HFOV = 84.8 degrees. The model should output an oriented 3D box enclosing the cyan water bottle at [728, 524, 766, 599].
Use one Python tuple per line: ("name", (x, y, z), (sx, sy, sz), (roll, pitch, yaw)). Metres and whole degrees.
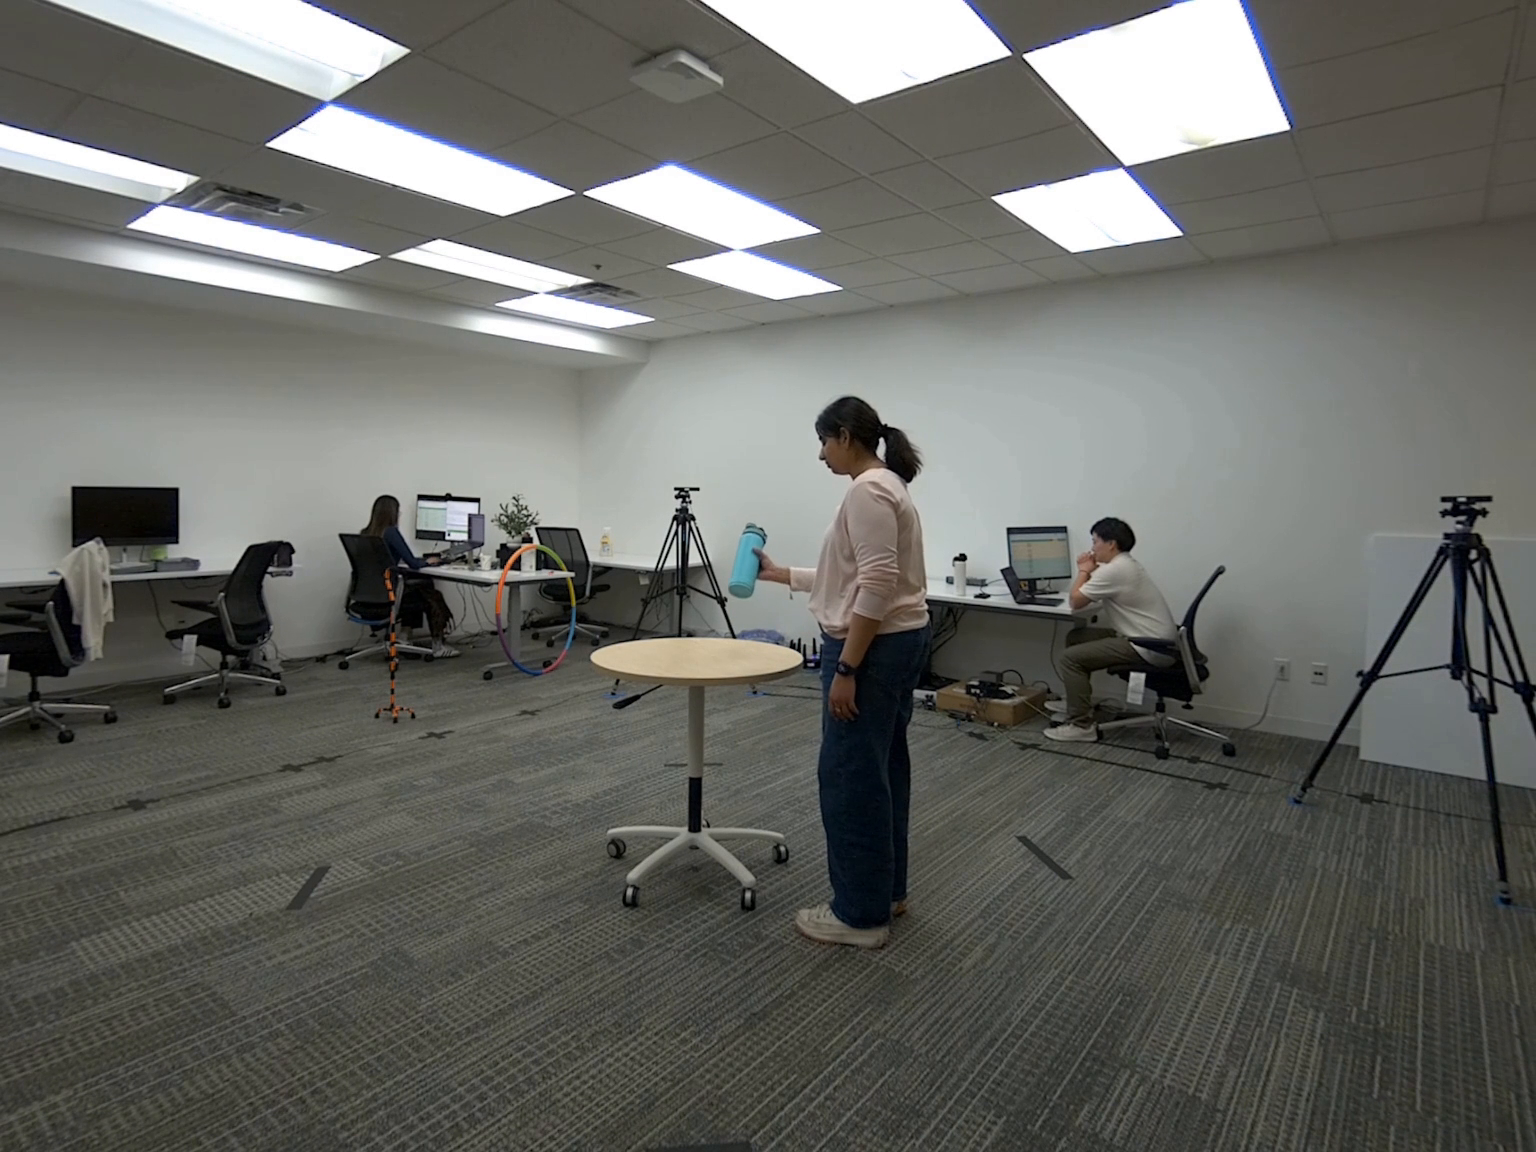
("cyan water bottle", (-0.067, -0.063, 3.015), (0.093, 0.289, 0.090), (7, -33, 3))
